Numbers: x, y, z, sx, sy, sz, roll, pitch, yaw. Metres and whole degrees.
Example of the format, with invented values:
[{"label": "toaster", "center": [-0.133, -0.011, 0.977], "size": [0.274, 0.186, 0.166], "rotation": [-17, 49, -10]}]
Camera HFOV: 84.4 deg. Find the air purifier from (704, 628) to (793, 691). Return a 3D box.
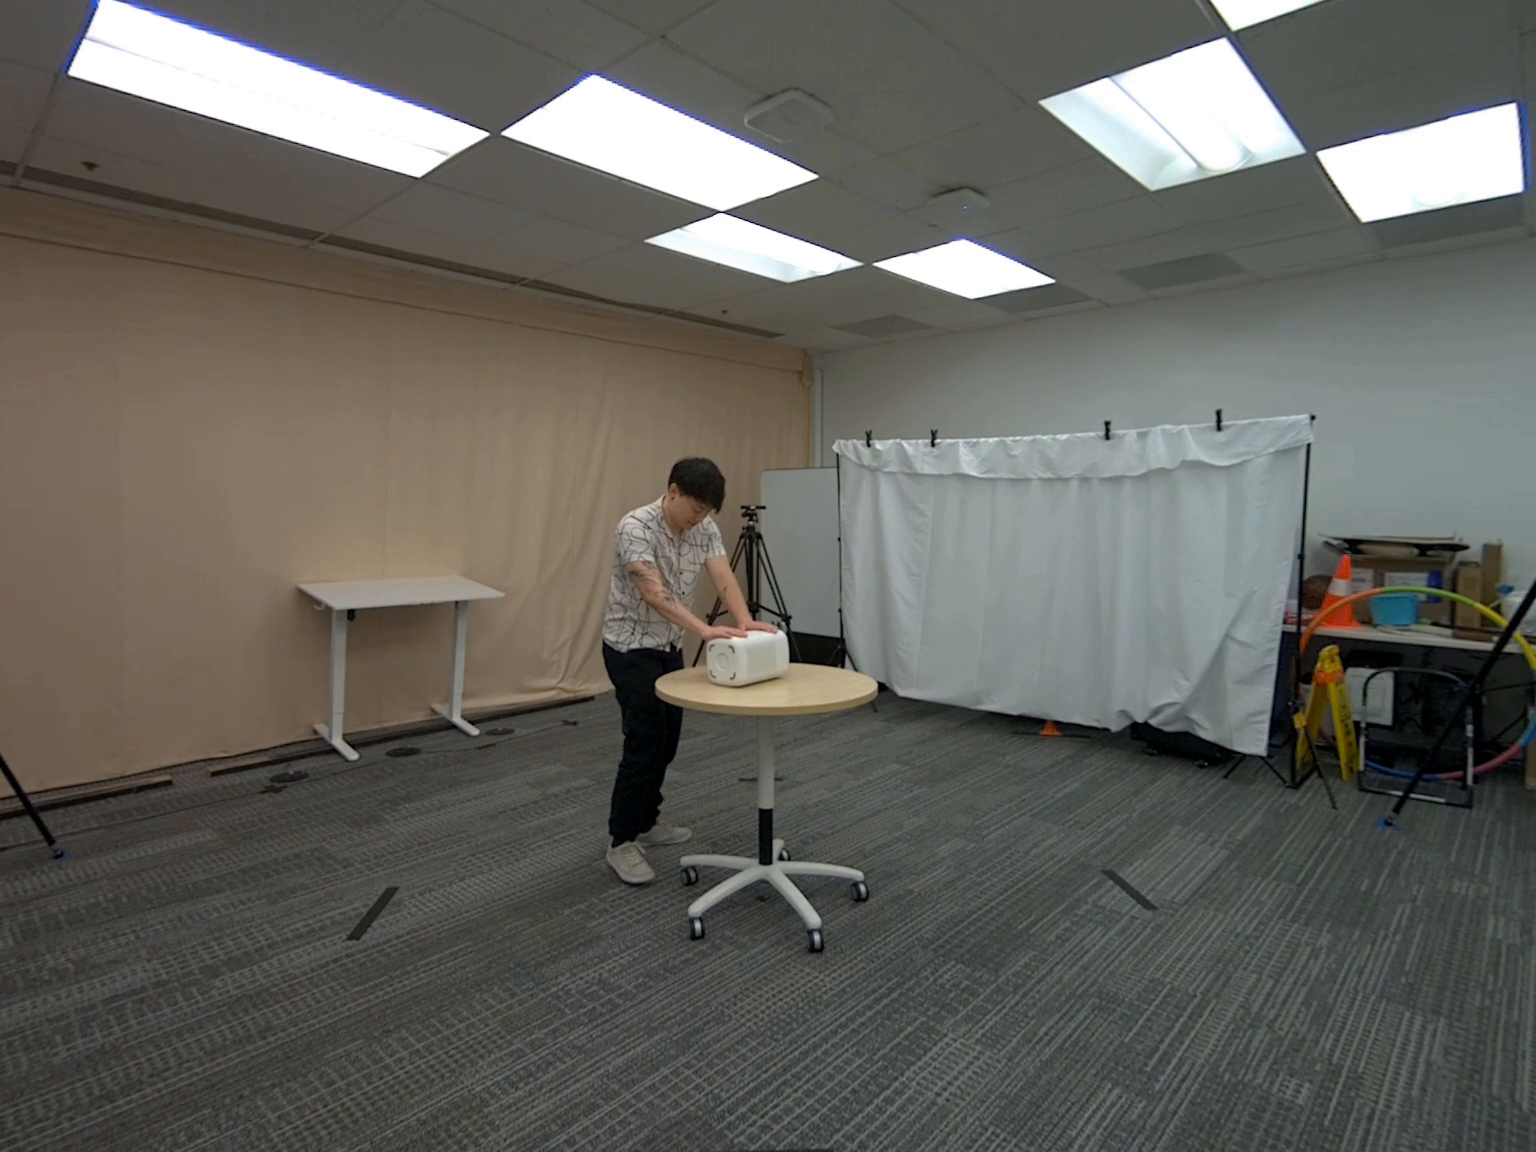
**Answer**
[{"label": "air purifier", "center": [-0.068, 0.280, 2.928], "size": [0.176, 0.171, 0.257], "rotation": [0, 3, 40]}]
